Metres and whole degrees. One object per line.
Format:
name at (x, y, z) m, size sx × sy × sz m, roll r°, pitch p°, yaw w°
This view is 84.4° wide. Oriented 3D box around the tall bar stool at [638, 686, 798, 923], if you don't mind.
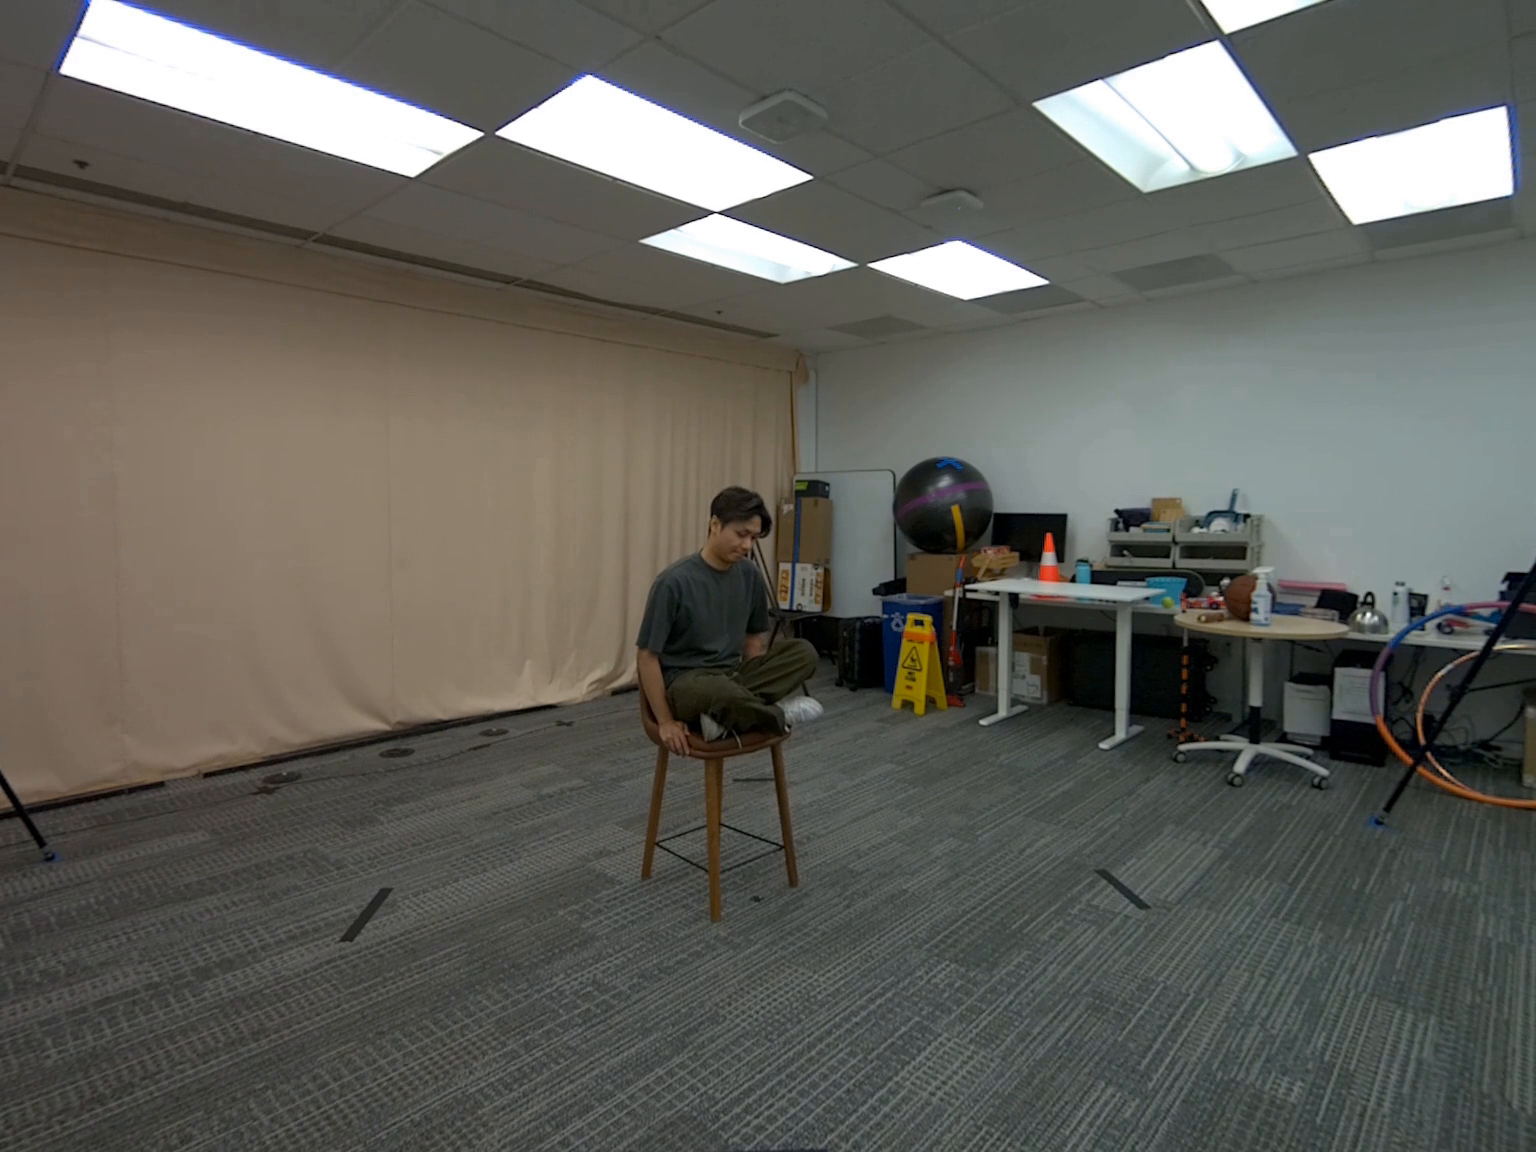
tall bar stool at (-0.195, 0.701, 3.101) m, size 0.442 × 0.889 × 0.482 m, roll -3°, pitch 2°, yaw -43°
